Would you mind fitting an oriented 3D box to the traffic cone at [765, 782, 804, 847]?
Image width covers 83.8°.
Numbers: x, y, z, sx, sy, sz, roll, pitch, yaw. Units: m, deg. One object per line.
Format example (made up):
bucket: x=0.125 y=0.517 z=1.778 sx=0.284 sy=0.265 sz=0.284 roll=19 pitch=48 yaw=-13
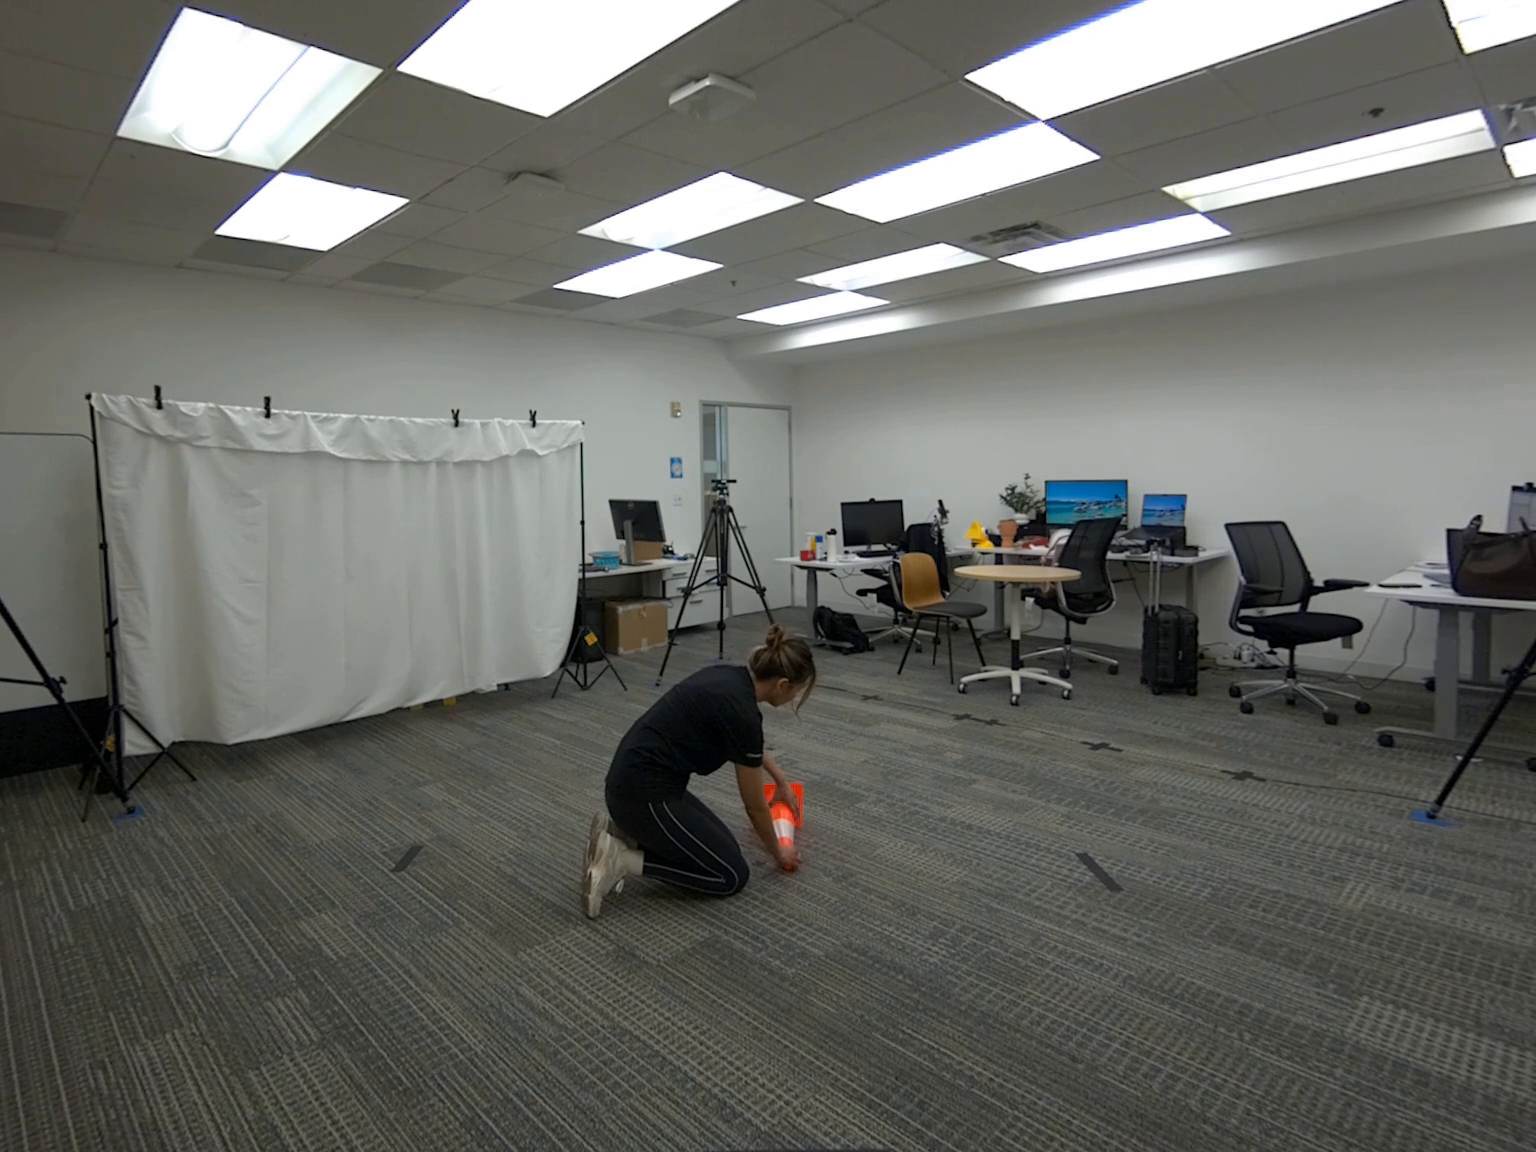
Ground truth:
traffic cone: x=0.053 y=0.981 z=3.229 sx=0.203 sy=0.201 sz=0.390 roll=-8 pitch=18 yaw=-1
